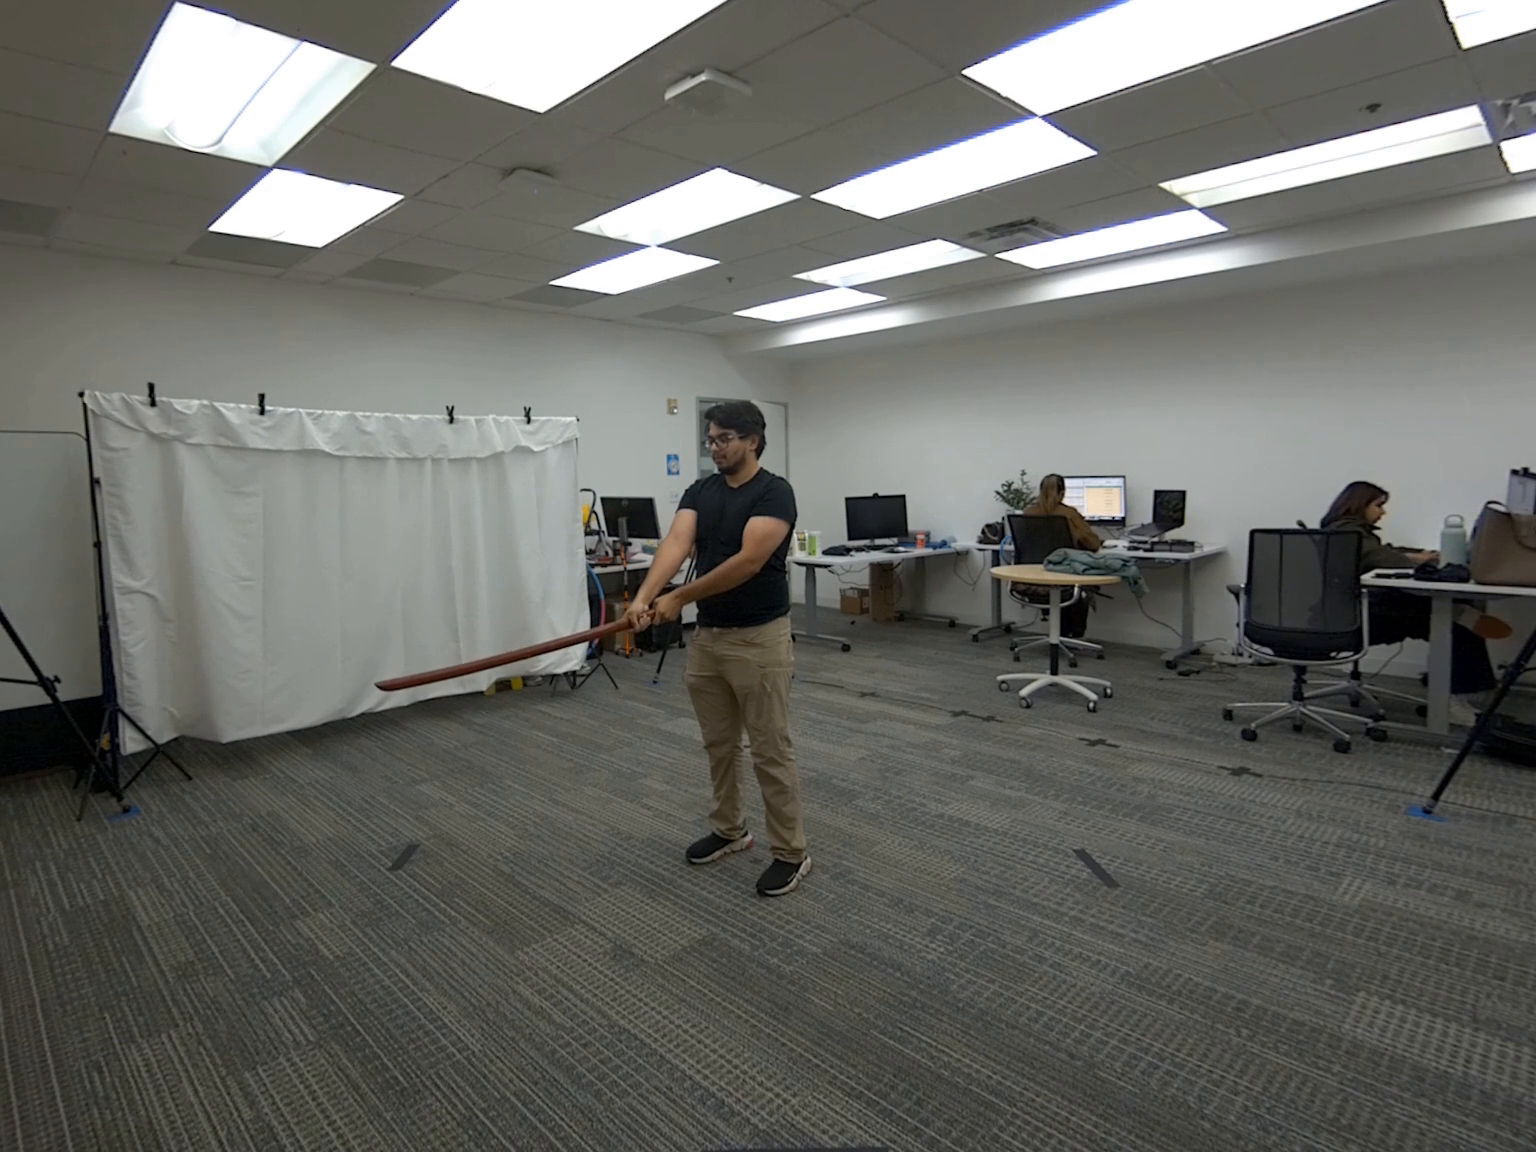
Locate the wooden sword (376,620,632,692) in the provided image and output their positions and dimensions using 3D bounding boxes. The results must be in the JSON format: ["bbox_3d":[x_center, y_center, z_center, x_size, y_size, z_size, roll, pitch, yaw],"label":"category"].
[{"bbox_3d":[-0.663,0.202,2.451,1.000,0.024,0.051,-12,-19,-44],"label":"wooden sword"}]
